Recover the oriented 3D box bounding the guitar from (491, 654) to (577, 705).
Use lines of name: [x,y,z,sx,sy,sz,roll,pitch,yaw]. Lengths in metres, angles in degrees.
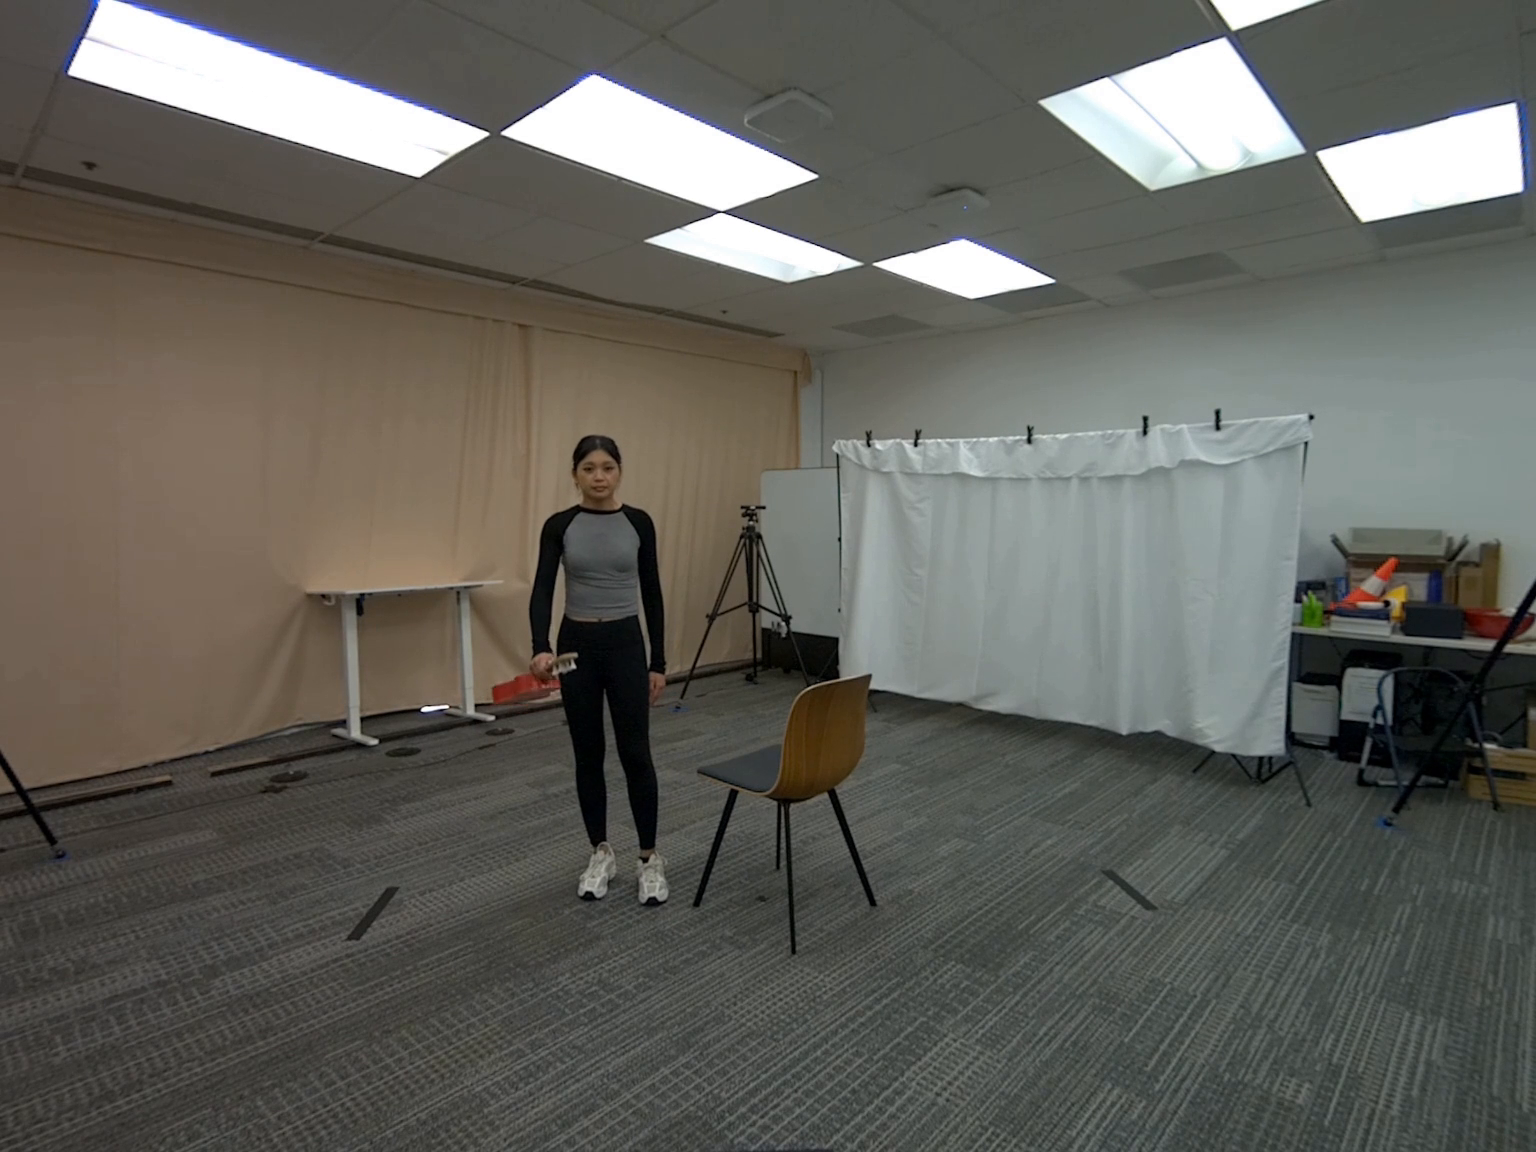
guitar: [-0.762,0.328,2.696,0.189,0.071,0.503,-6,-13,-26]
